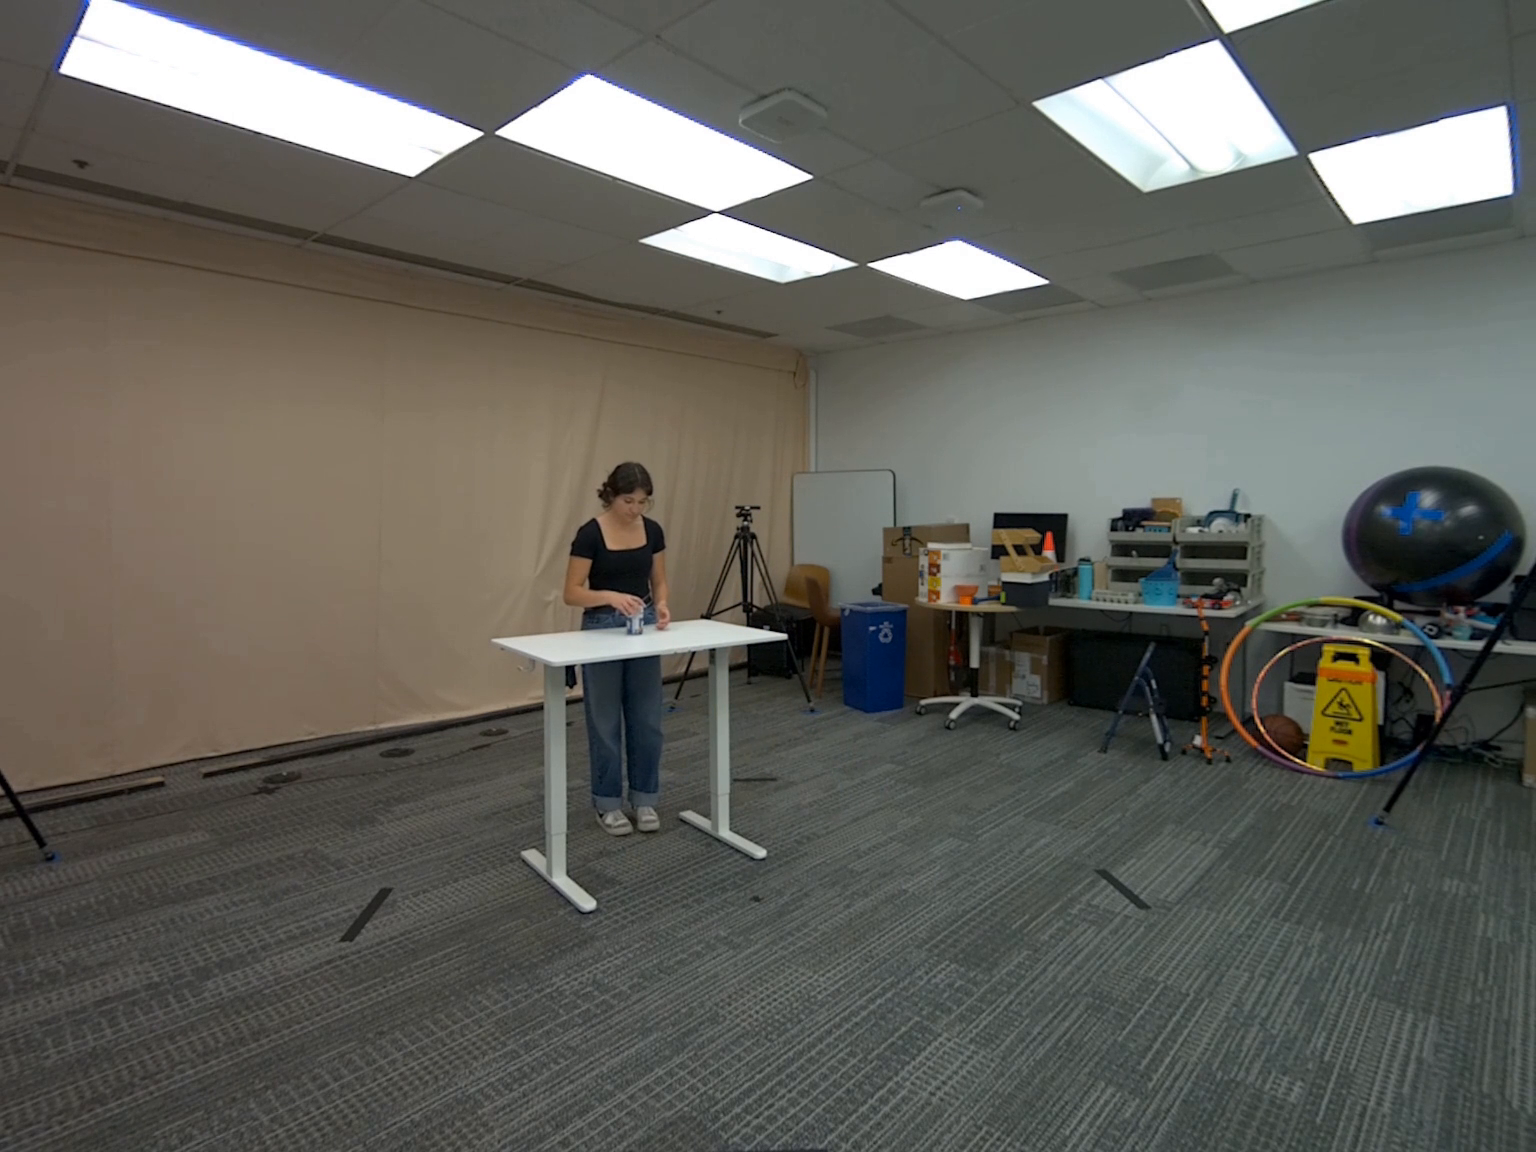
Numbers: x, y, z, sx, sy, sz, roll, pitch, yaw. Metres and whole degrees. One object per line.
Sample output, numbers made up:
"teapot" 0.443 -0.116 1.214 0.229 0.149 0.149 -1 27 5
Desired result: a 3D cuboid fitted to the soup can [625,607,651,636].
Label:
"soup can" -0.533 0.170 3.377 0.067 0.121 0.067 -3 4 -2
